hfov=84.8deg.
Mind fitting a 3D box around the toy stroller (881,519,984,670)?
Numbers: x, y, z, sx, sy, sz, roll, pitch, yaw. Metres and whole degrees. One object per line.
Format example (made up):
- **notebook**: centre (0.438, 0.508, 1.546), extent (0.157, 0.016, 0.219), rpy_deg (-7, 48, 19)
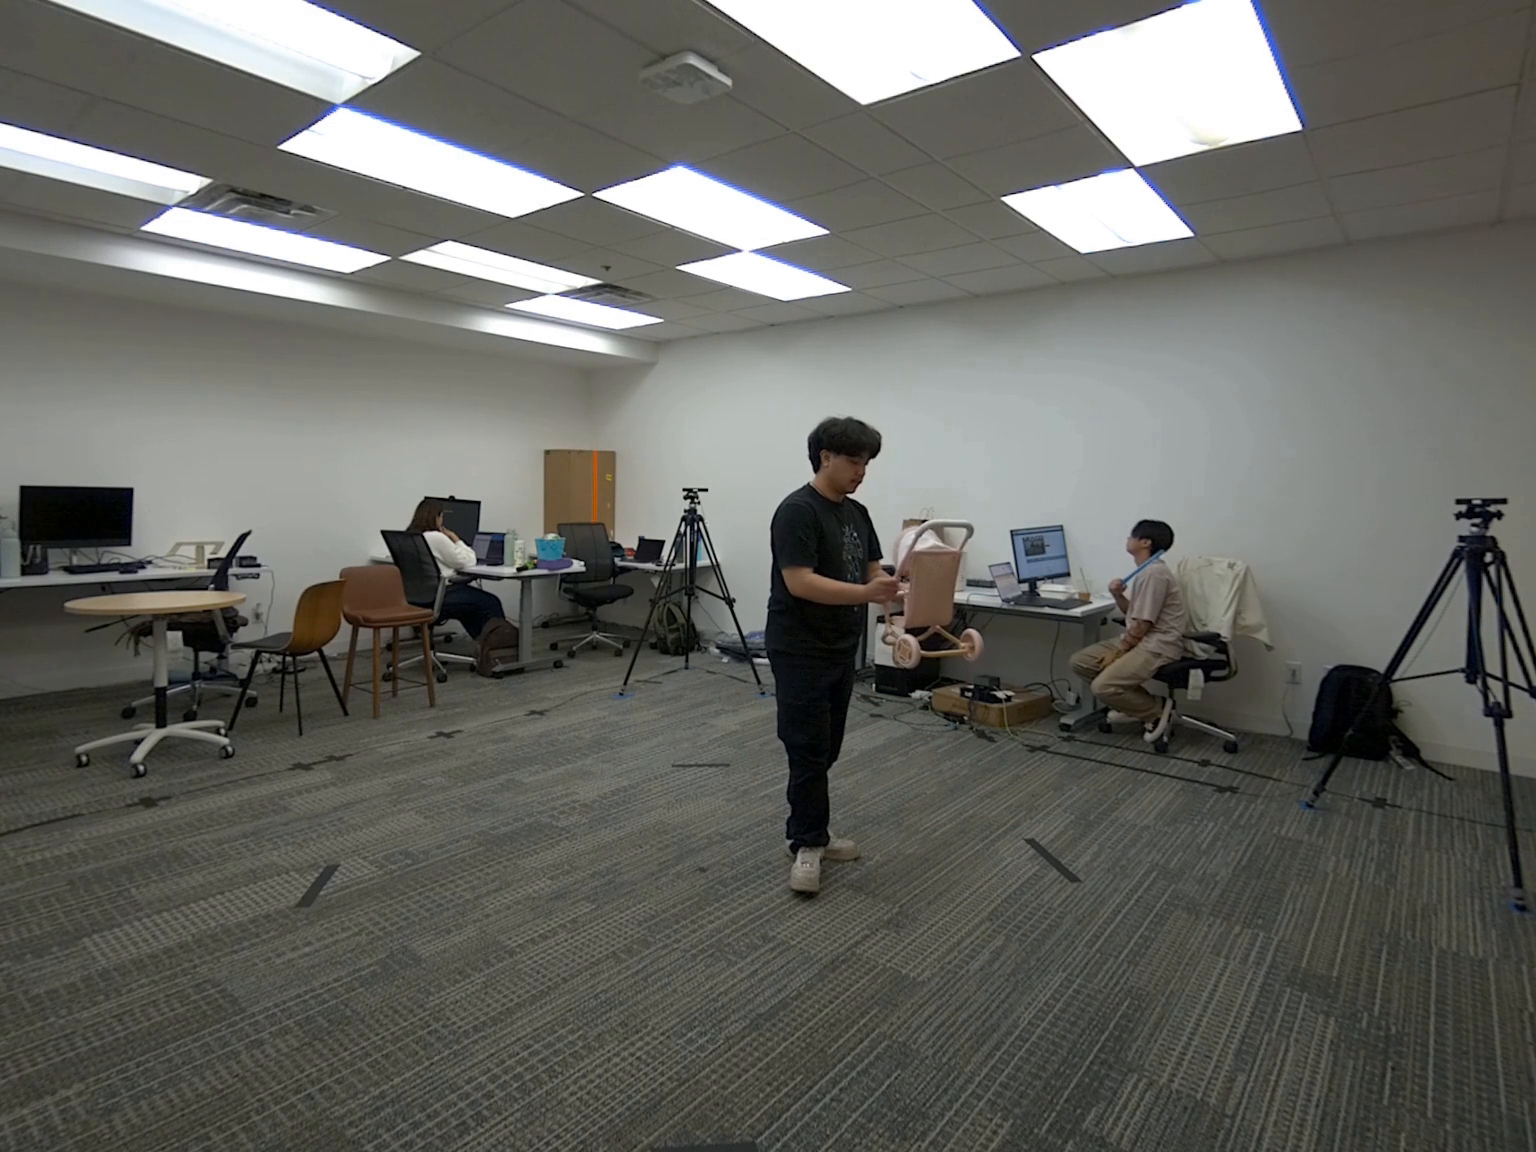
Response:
- **toy stroller**: centre (0.522, 0.073, 2.868), extent (0.276, 0.533, 0.349), rpy_deg (-1, 4, -19)
